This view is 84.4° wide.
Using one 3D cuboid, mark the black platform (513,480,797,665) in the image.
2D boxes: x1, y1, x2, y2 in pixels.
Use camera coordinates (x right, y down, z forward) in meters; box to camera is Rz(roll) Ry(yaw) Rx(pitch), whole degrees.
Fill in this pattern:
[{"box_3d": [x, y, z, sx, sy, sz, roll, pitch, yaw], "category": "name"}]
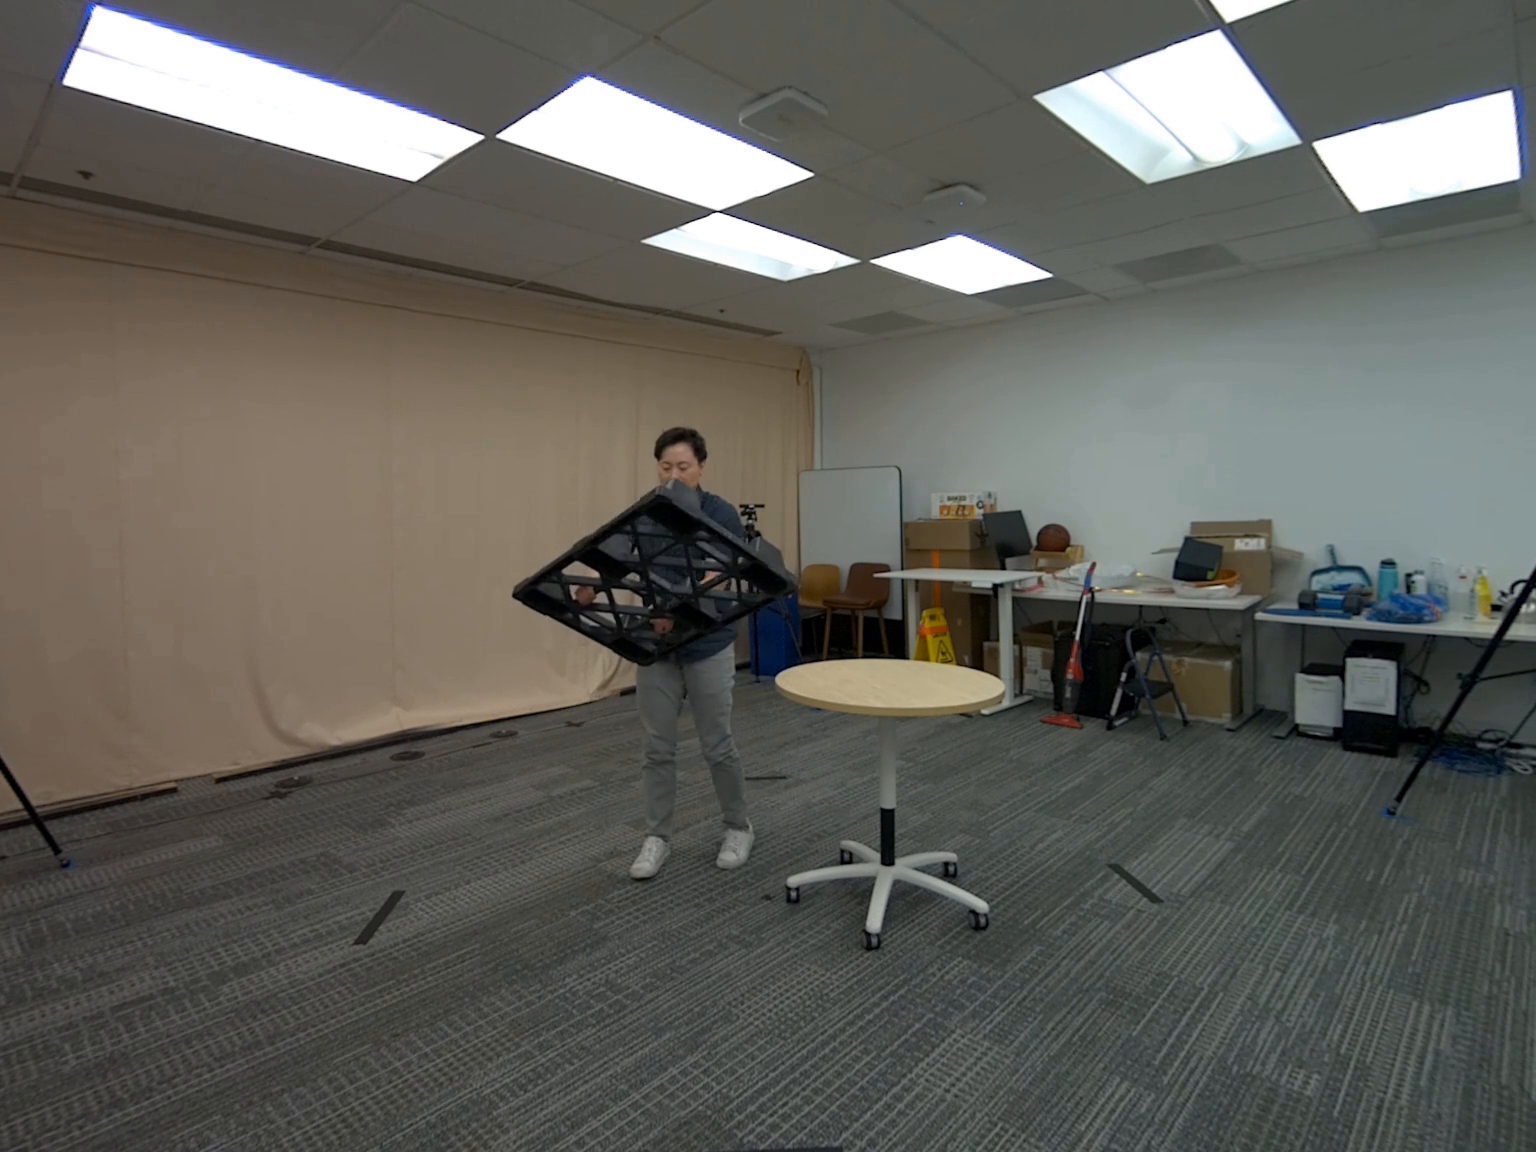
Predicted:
[{"box_3d": [-0.387, 0.005, 2.815, 0.820, 0.145, 0.586, -29, -51, 36], "category": "black platform"}]
